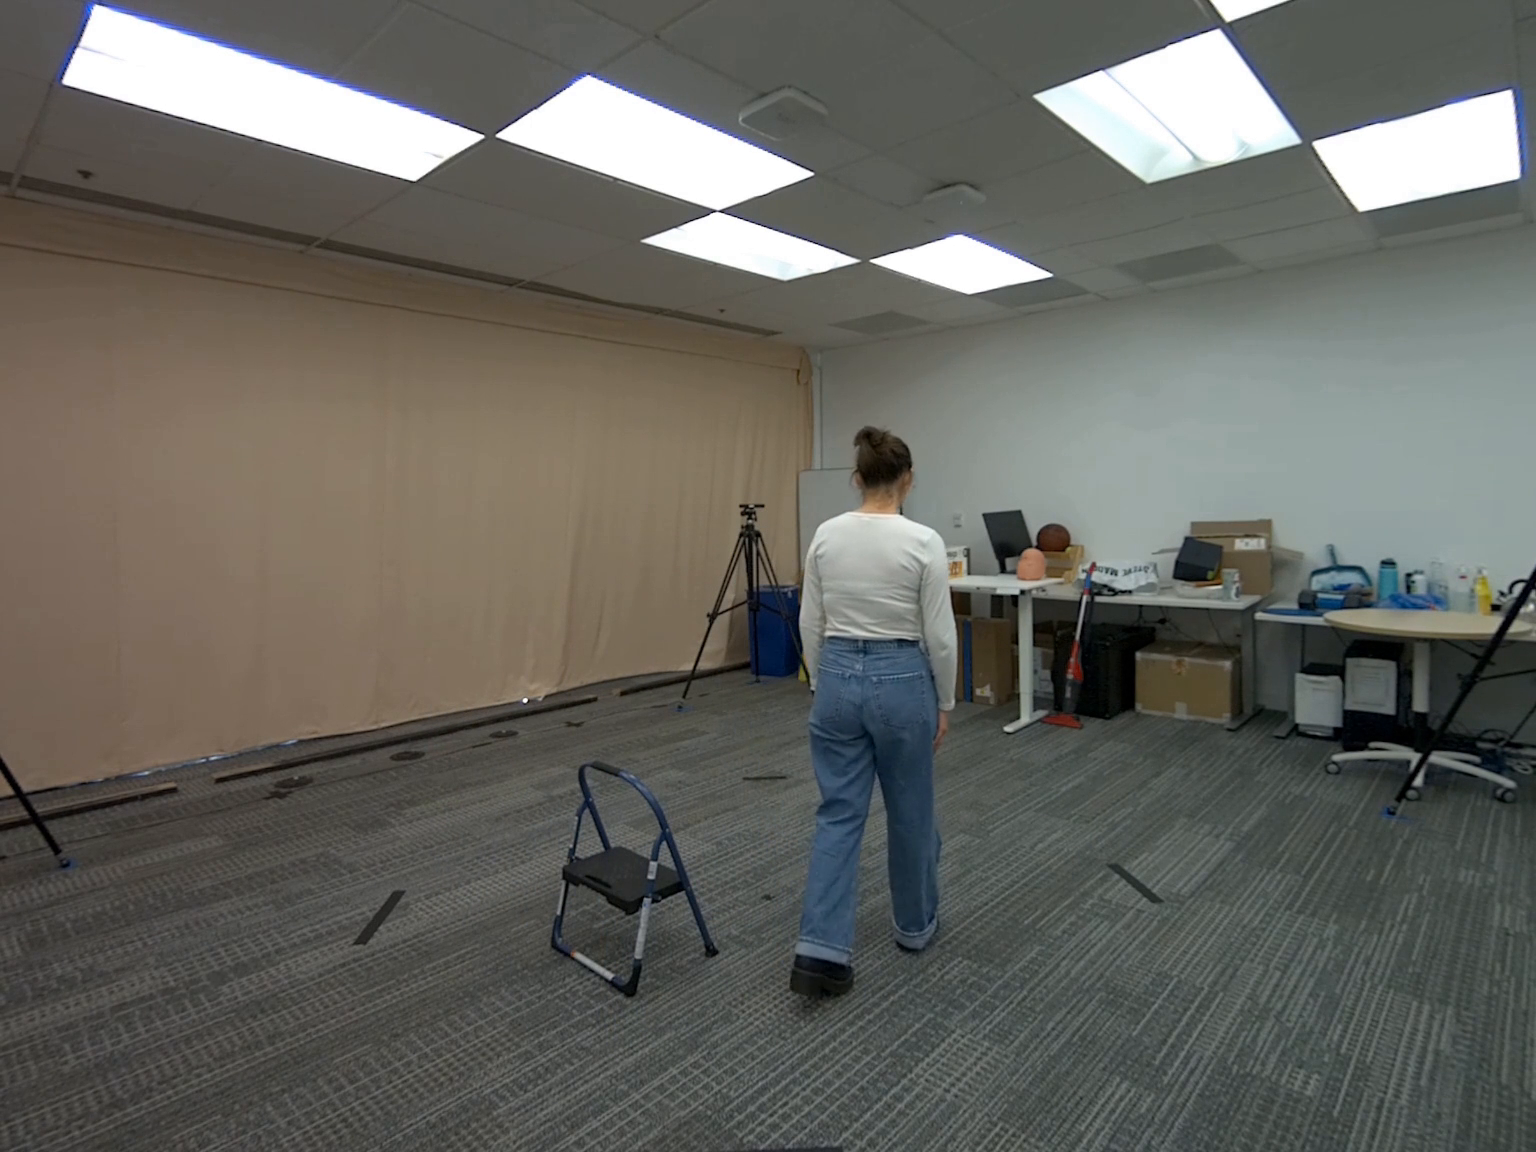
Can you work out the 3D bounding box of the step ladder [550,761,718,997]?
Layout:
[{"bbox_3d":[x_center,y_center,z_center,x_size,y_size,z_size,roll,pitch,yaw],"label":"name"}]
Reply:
[{"bbox_3d":[-0.432,0.878,2.637,0.445,0.605,0.339,2,5,43],"label":"step ladder"}]
